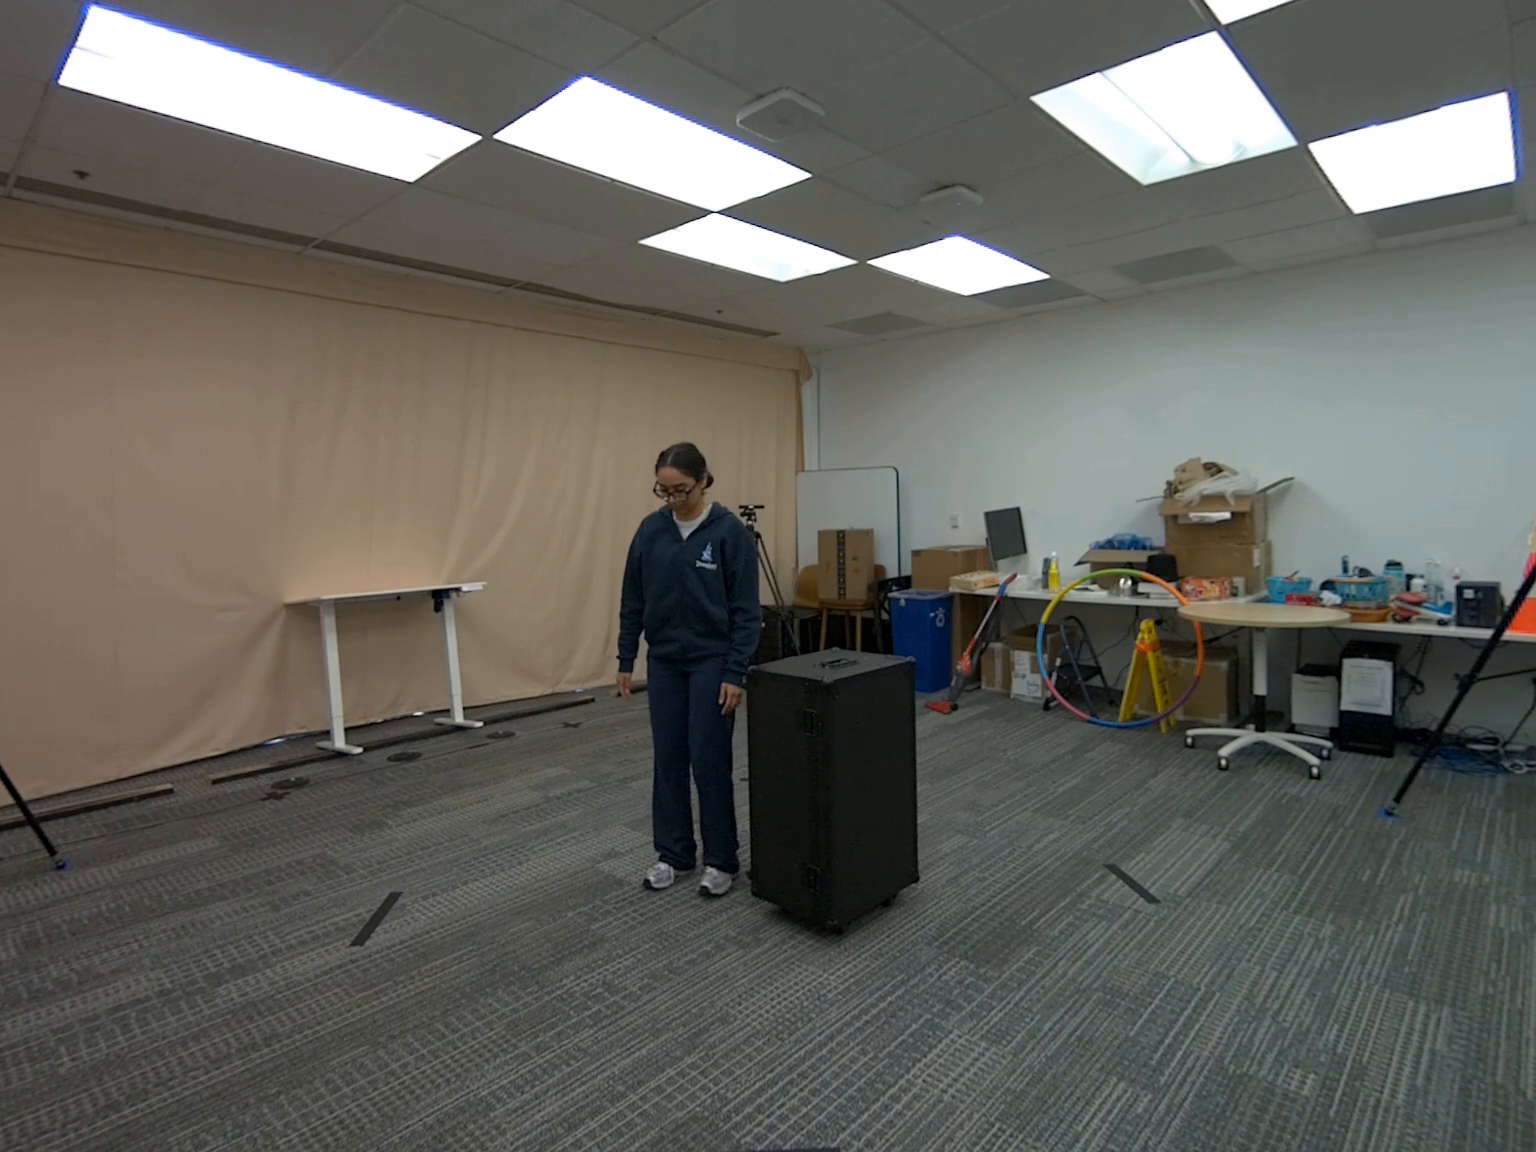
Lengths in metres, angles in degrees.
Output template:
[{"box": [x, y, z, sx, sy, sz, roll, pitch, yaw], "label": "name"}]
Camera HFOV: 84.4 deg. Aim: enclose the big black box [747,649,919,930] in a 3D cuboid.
[{"box": [0.222, 0.723, 2.883, 0.409, 0.860, 0.505, 0, 3, 45], "label": "big black box"}]
